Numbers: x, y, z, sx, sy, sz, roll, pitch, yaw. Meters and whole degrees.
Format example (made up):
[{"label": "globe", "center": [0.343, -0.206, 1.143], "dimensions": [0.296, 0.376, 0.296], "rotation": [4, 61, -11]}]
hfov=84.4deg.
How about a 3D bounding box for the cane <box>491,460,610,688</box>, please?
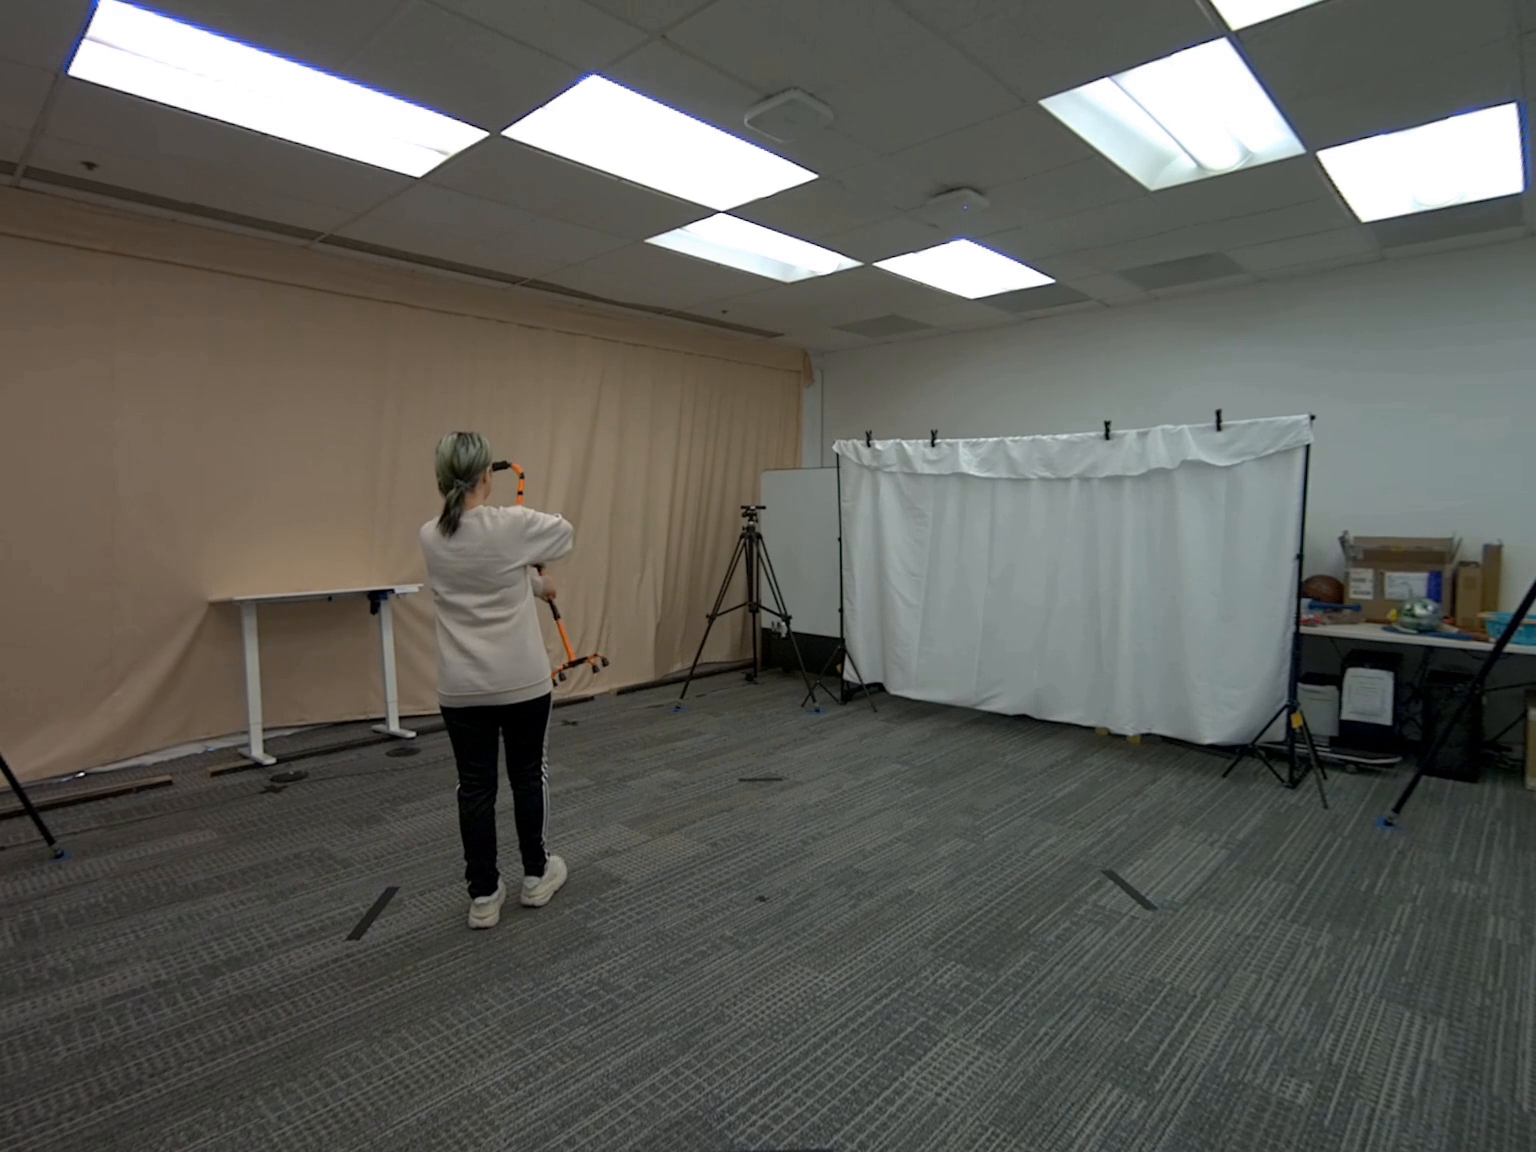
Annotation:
[{"label": "cane", "center": [-0.882, -0.041, 3.259], "dimensions": [0.202, 0.916, 0.153], "rotation": [-16, -11, -32]}]
